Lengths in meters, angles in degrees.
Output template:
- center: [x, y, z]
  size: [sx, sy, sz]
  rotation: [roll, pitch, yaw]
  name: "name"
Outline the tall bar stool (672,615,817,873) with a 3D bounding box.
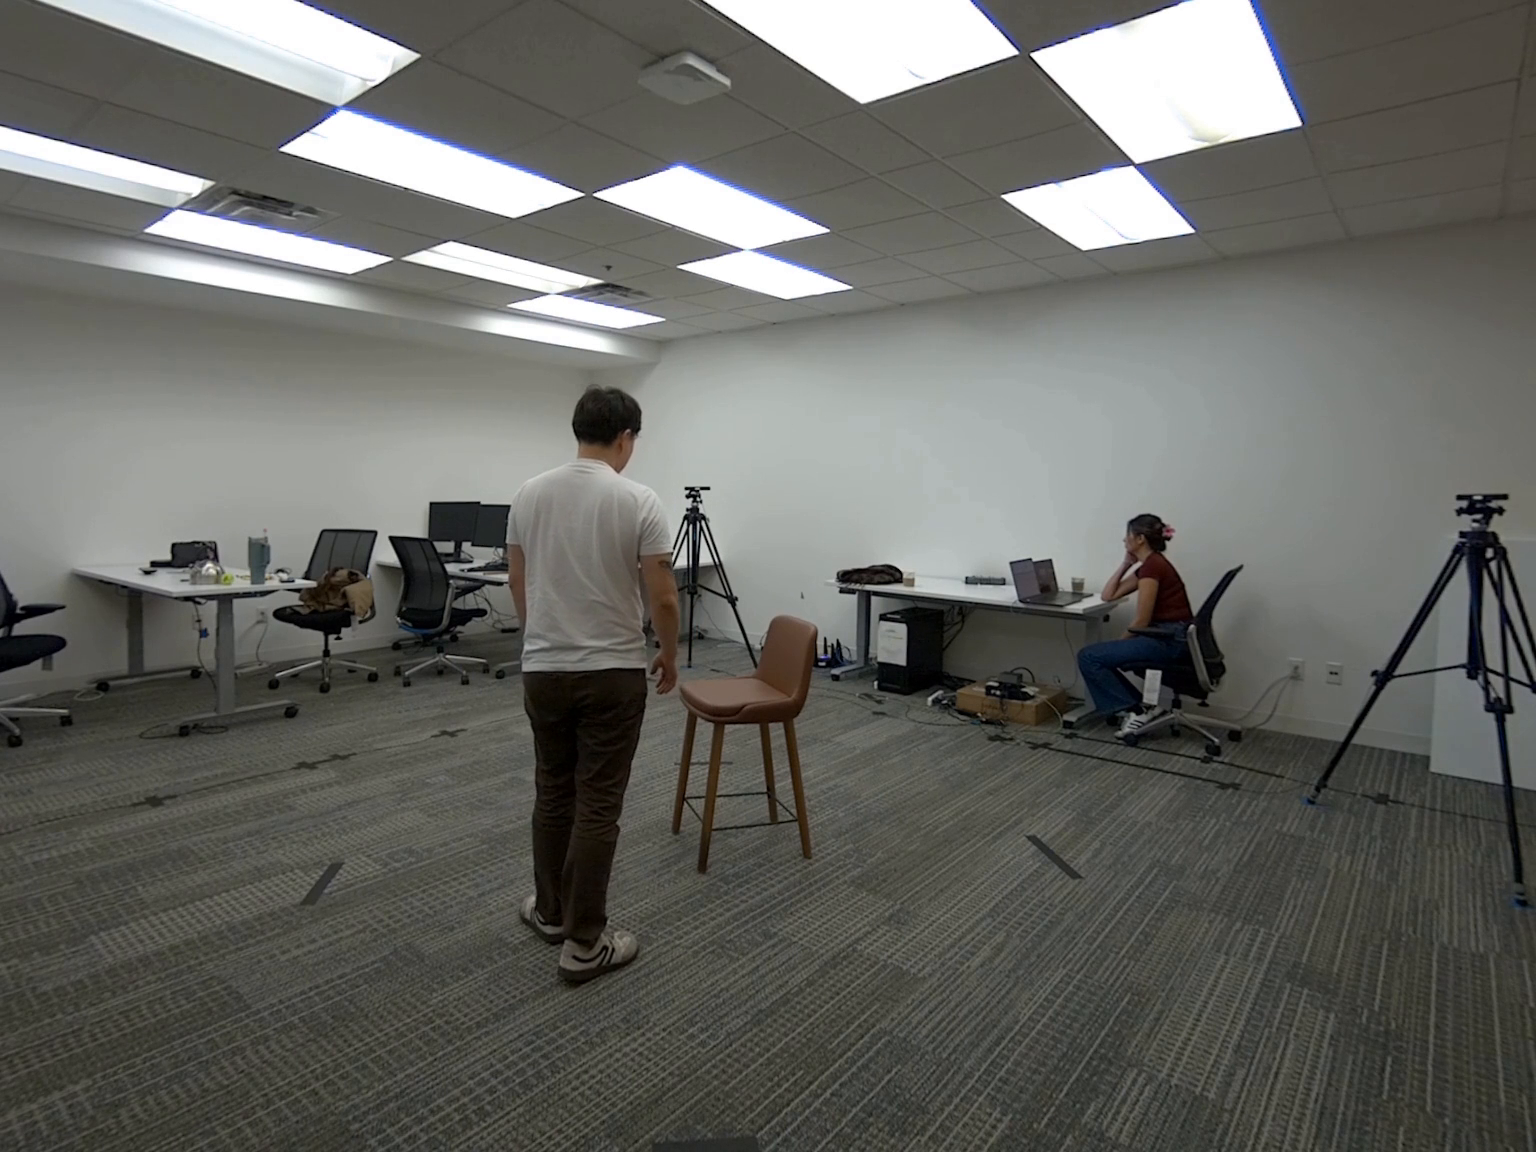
- center: [-0.105, 0.611, 3.299]
  size: [0.458, 0.888, 0.467]
  rotation: [2, 3, -20]
  name: "tall bar stool"
